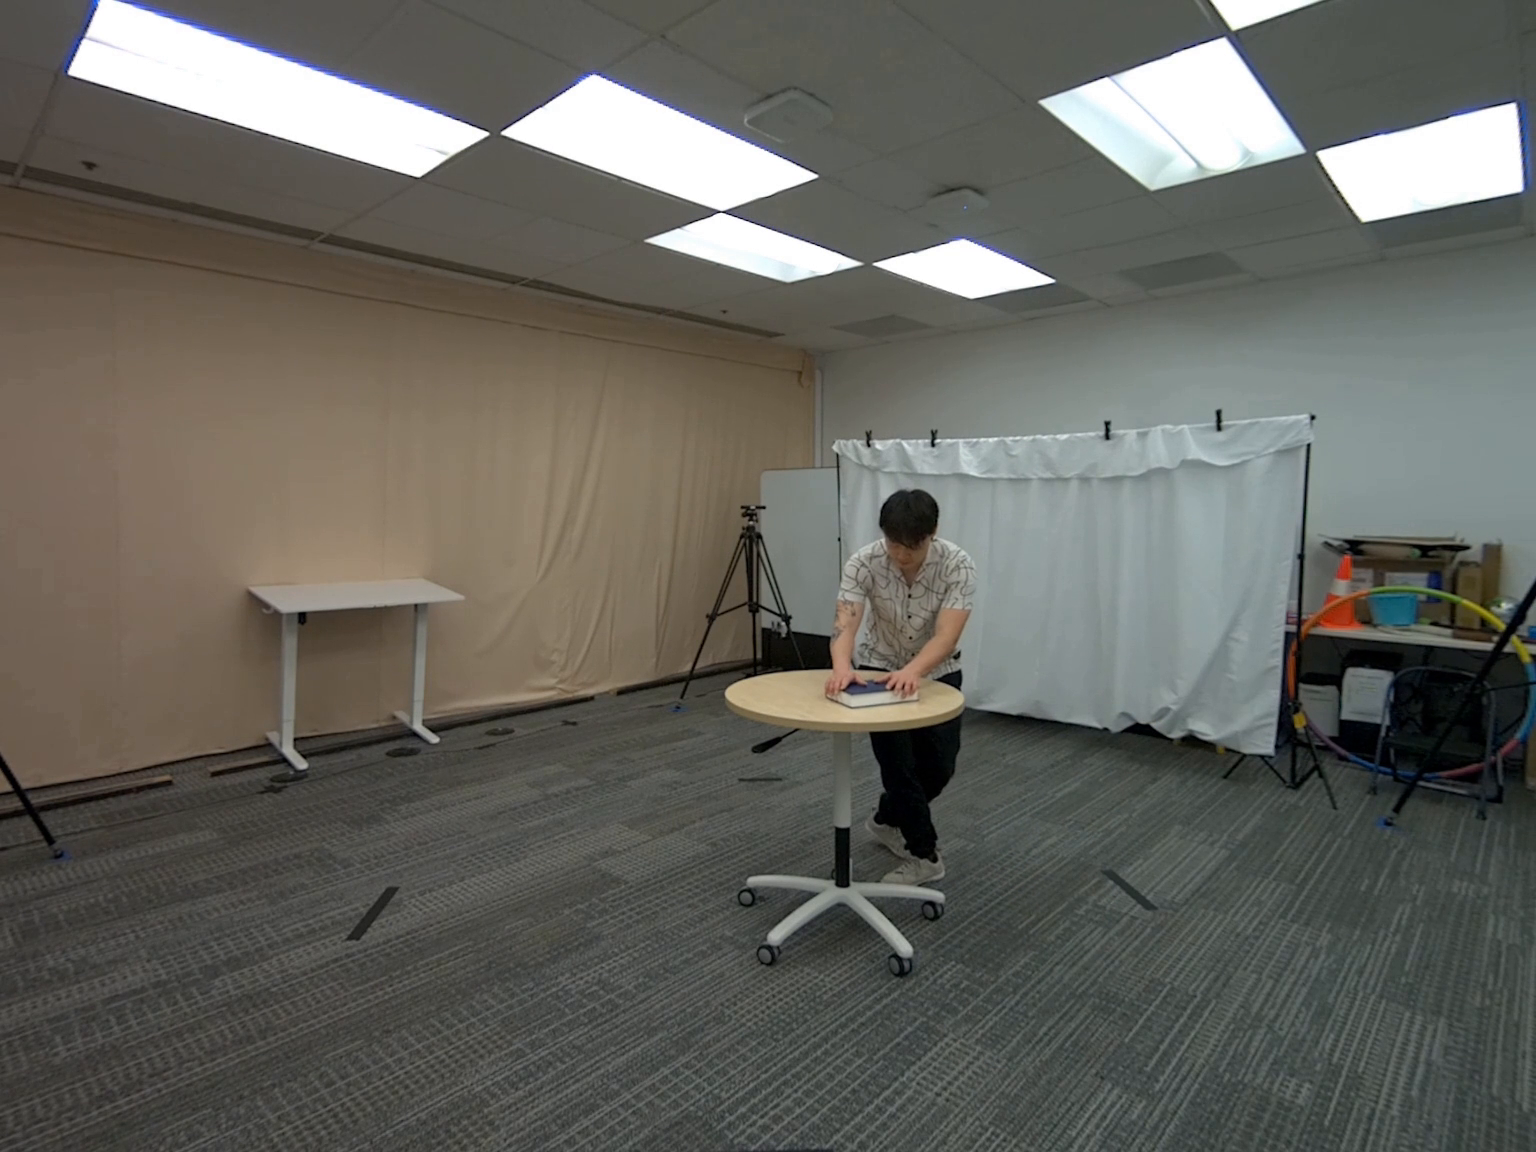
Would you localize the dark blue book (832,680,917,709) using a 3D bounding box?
[{"bbox_3d":[0.331,0.374,2.639,0.241,0.045,0.167,-2,5,-18],"label":"dark blue book"}]
